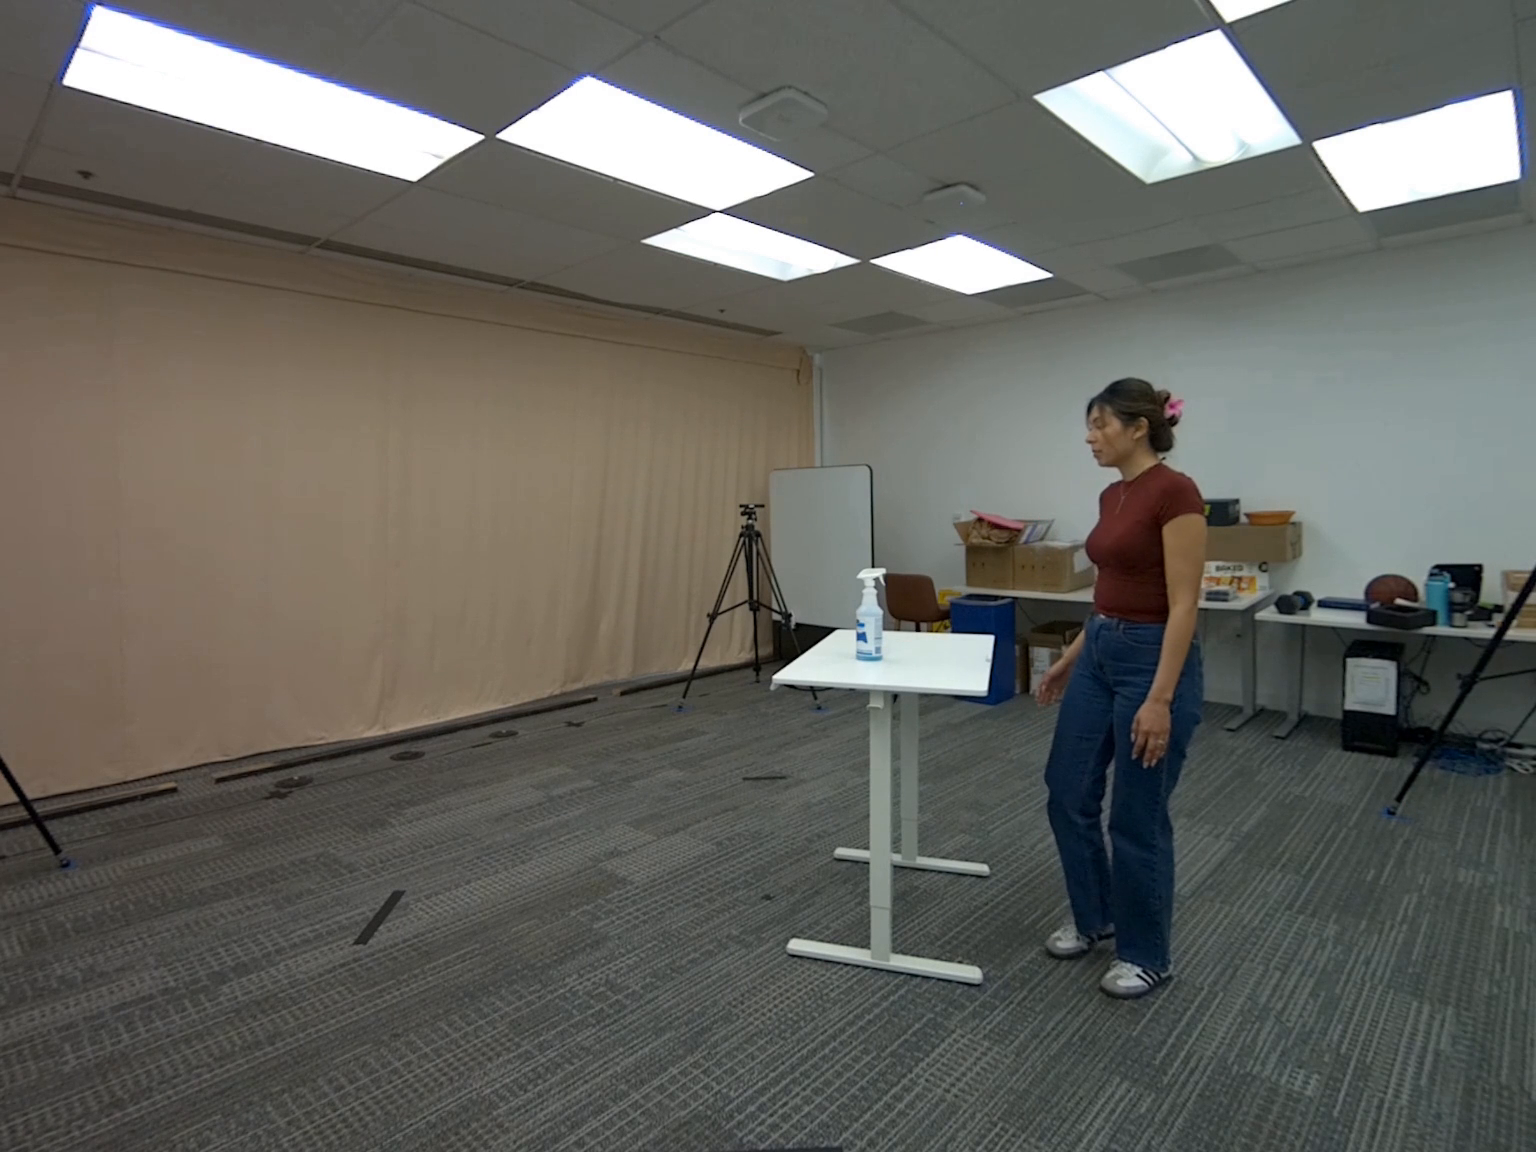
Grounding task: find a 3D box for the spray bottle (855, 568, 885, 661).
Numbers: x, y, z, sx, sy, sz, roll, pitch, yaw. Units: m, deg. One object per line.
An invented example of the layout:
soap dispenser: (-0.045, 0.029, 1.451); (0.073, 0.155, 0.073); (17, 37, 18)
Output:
spray bottle: (0.338, 0.128, 2.734); (0.092, 0.296, 0.085); (3, 5, 25)
